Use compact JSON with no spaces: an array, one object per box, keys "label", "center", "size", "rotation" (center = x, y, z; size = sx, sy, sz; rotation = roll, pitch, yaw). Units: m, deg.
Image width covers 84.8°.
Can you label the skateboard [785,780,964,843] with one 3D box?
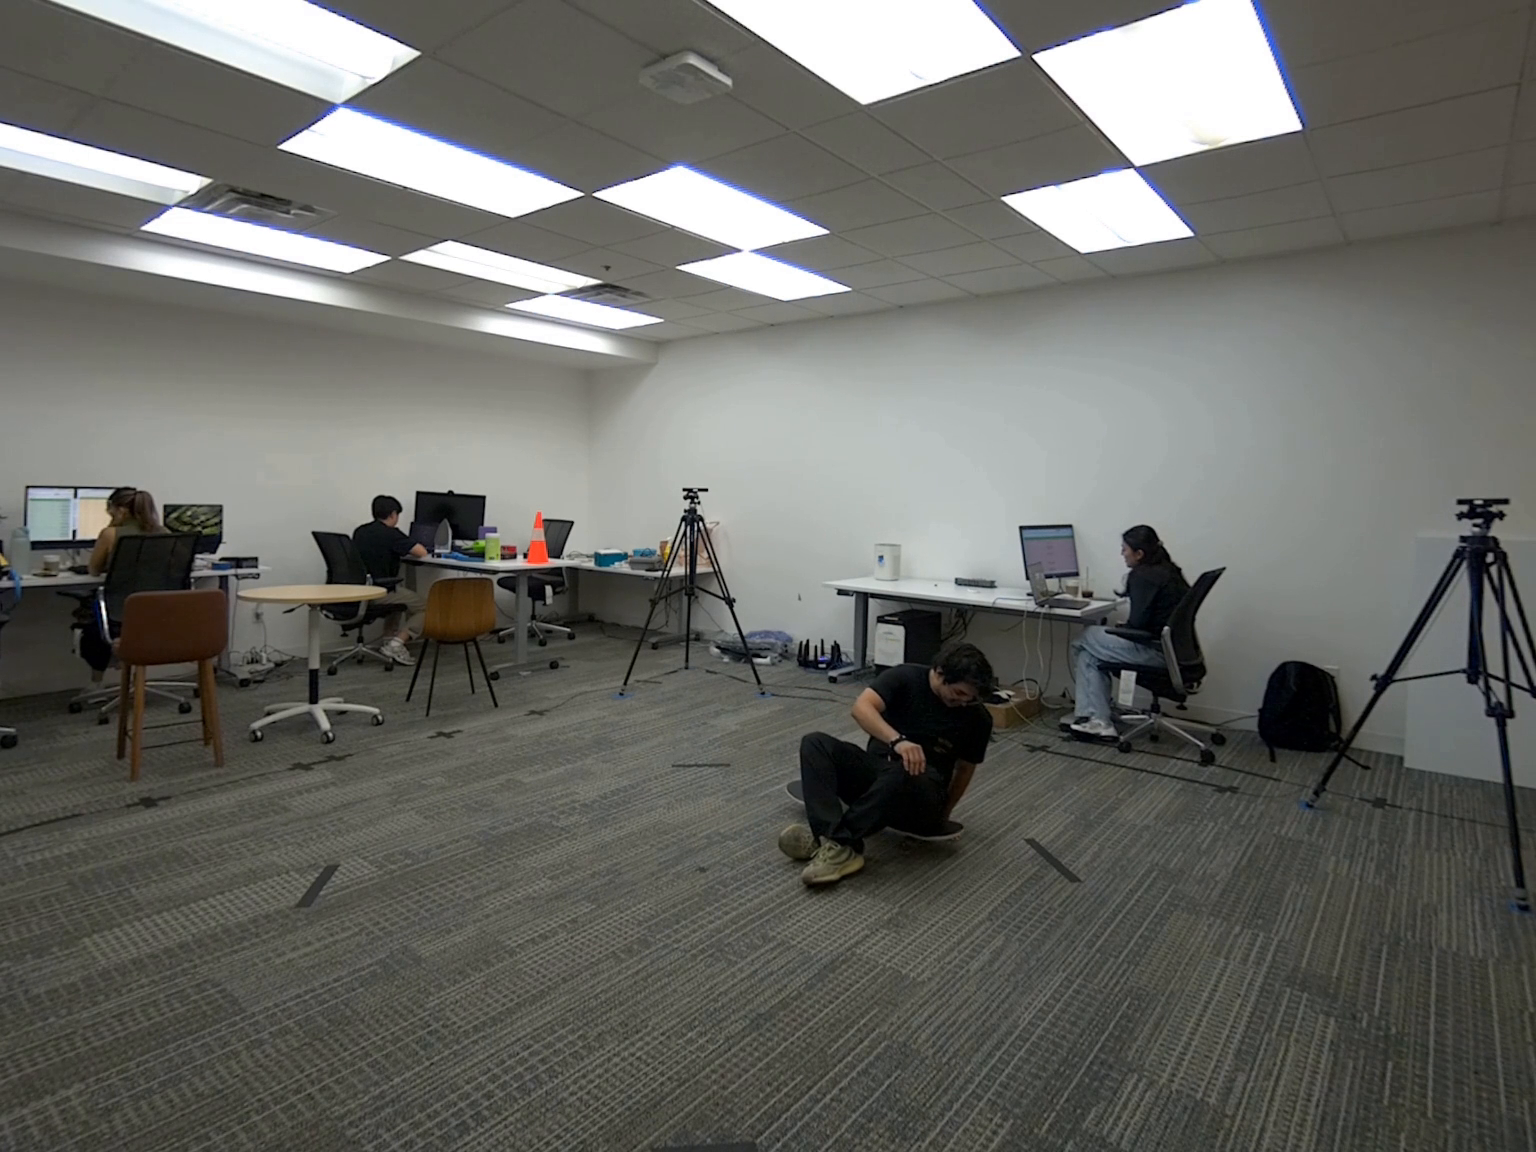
[{"label":"skateboard","center":[0.402,0.983,3.498],"size":[0.812,0.110,0.188],"rotation":[6,9,39]}]
